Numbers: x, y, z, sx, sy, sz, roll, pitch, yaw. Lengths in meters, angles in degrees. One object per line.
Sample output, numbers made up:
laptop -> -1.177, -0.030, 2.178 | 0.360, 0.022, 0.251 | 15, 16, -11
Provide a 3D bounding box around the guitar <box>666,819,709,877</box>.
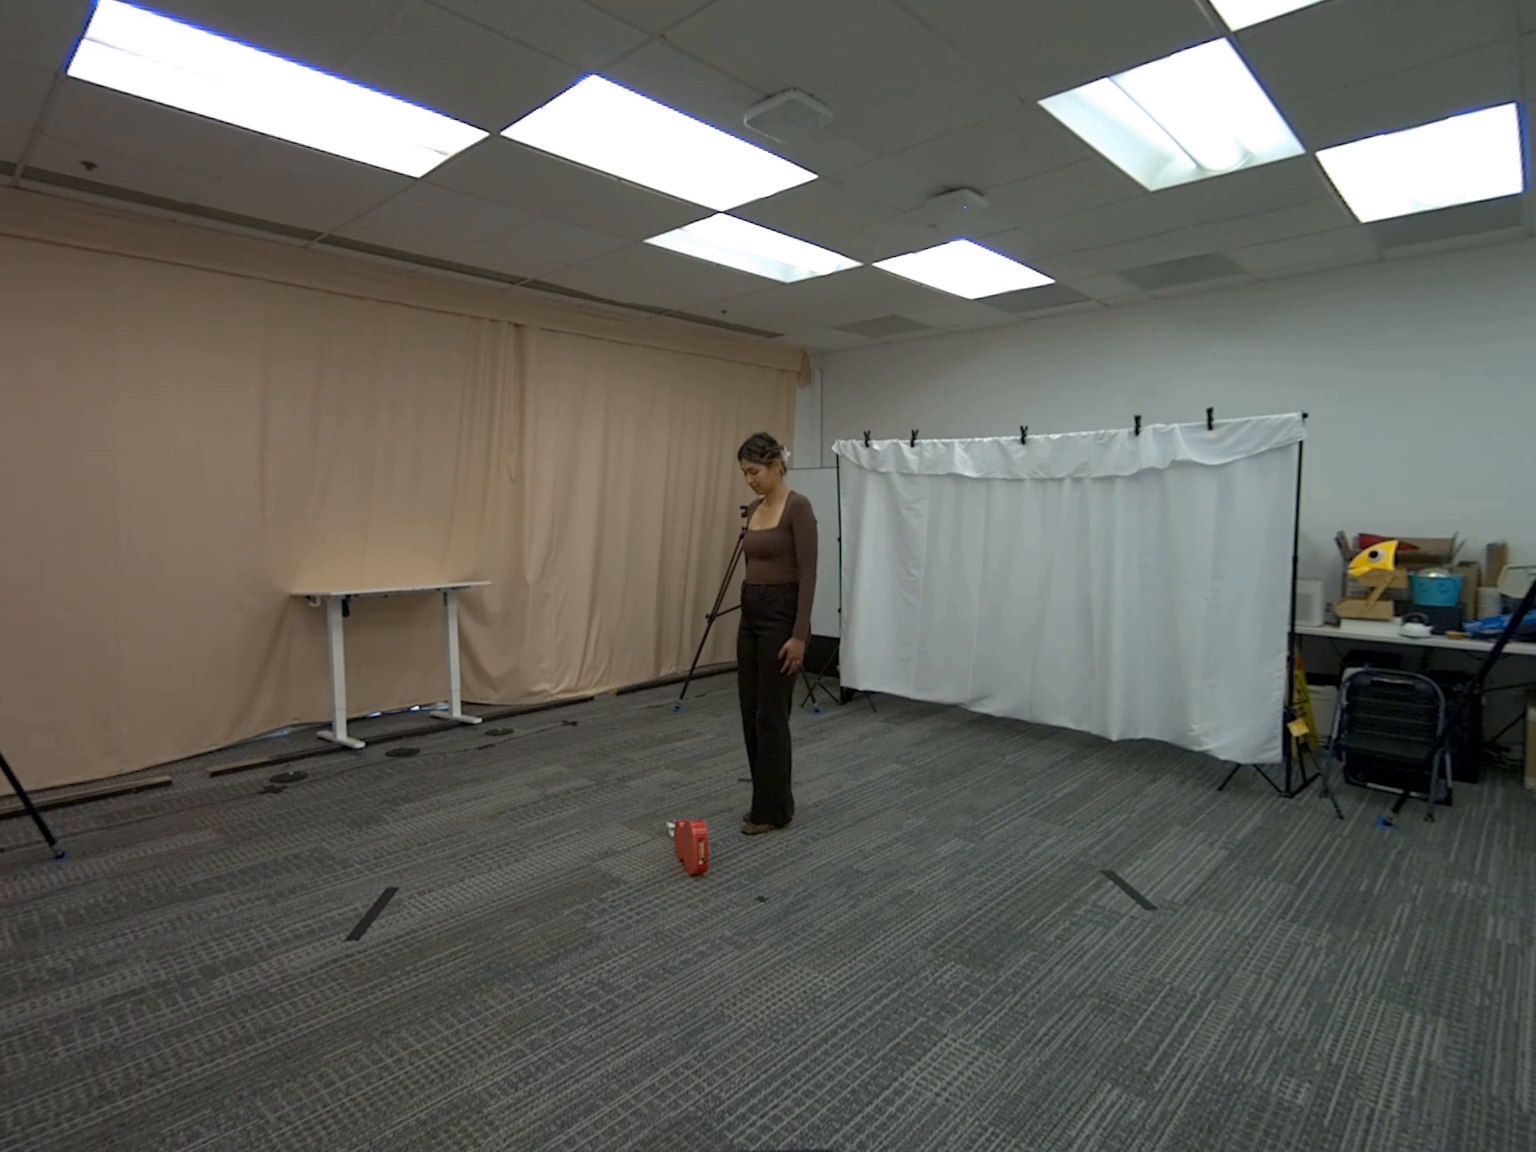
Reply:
guitar -> -0.334, 1.073, 3.362 | 0.069, 0.195, 0.503 | 2, -15, -21
